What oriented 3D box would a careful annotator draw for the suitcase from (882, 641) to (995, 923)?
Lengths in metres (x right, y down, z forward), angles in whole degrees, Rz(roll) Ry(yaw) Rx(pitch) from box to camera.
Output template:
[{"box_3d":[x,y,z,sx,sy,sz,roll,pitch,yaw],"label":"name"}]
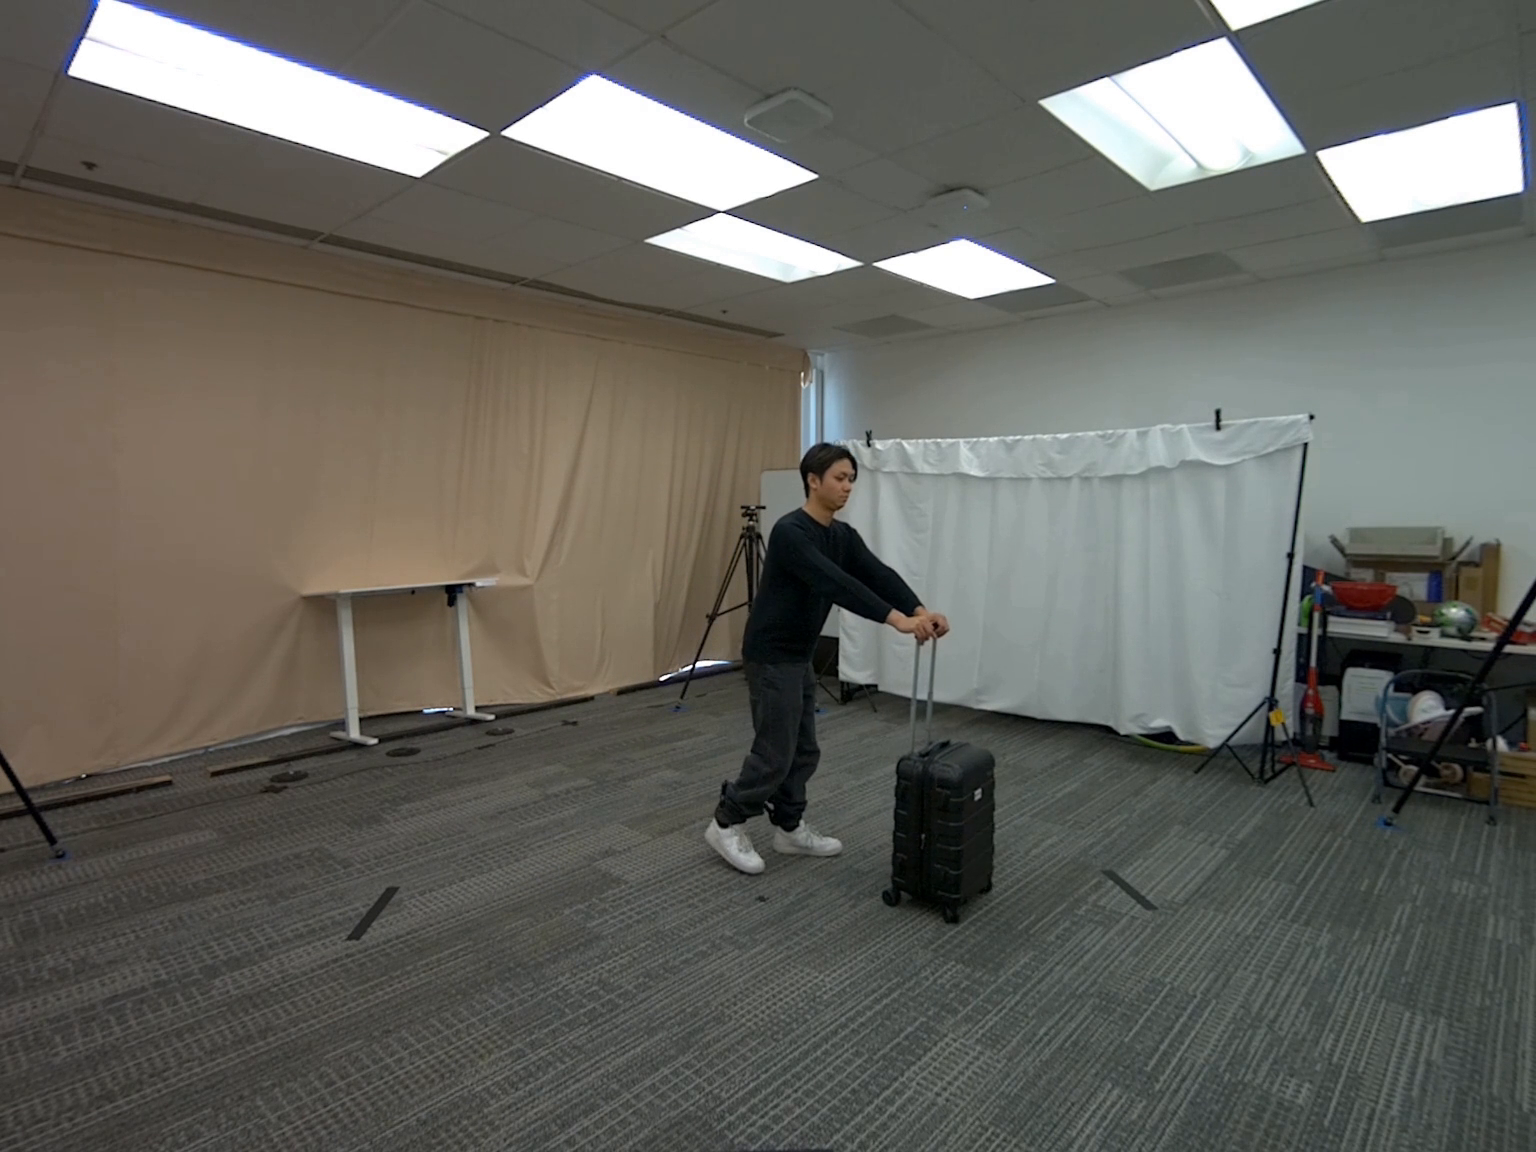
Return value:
[{"box_3d":[0.640,0.672,2.941,0.265,0.976,0.372,7,6,36],"label":"suitcase"}]
